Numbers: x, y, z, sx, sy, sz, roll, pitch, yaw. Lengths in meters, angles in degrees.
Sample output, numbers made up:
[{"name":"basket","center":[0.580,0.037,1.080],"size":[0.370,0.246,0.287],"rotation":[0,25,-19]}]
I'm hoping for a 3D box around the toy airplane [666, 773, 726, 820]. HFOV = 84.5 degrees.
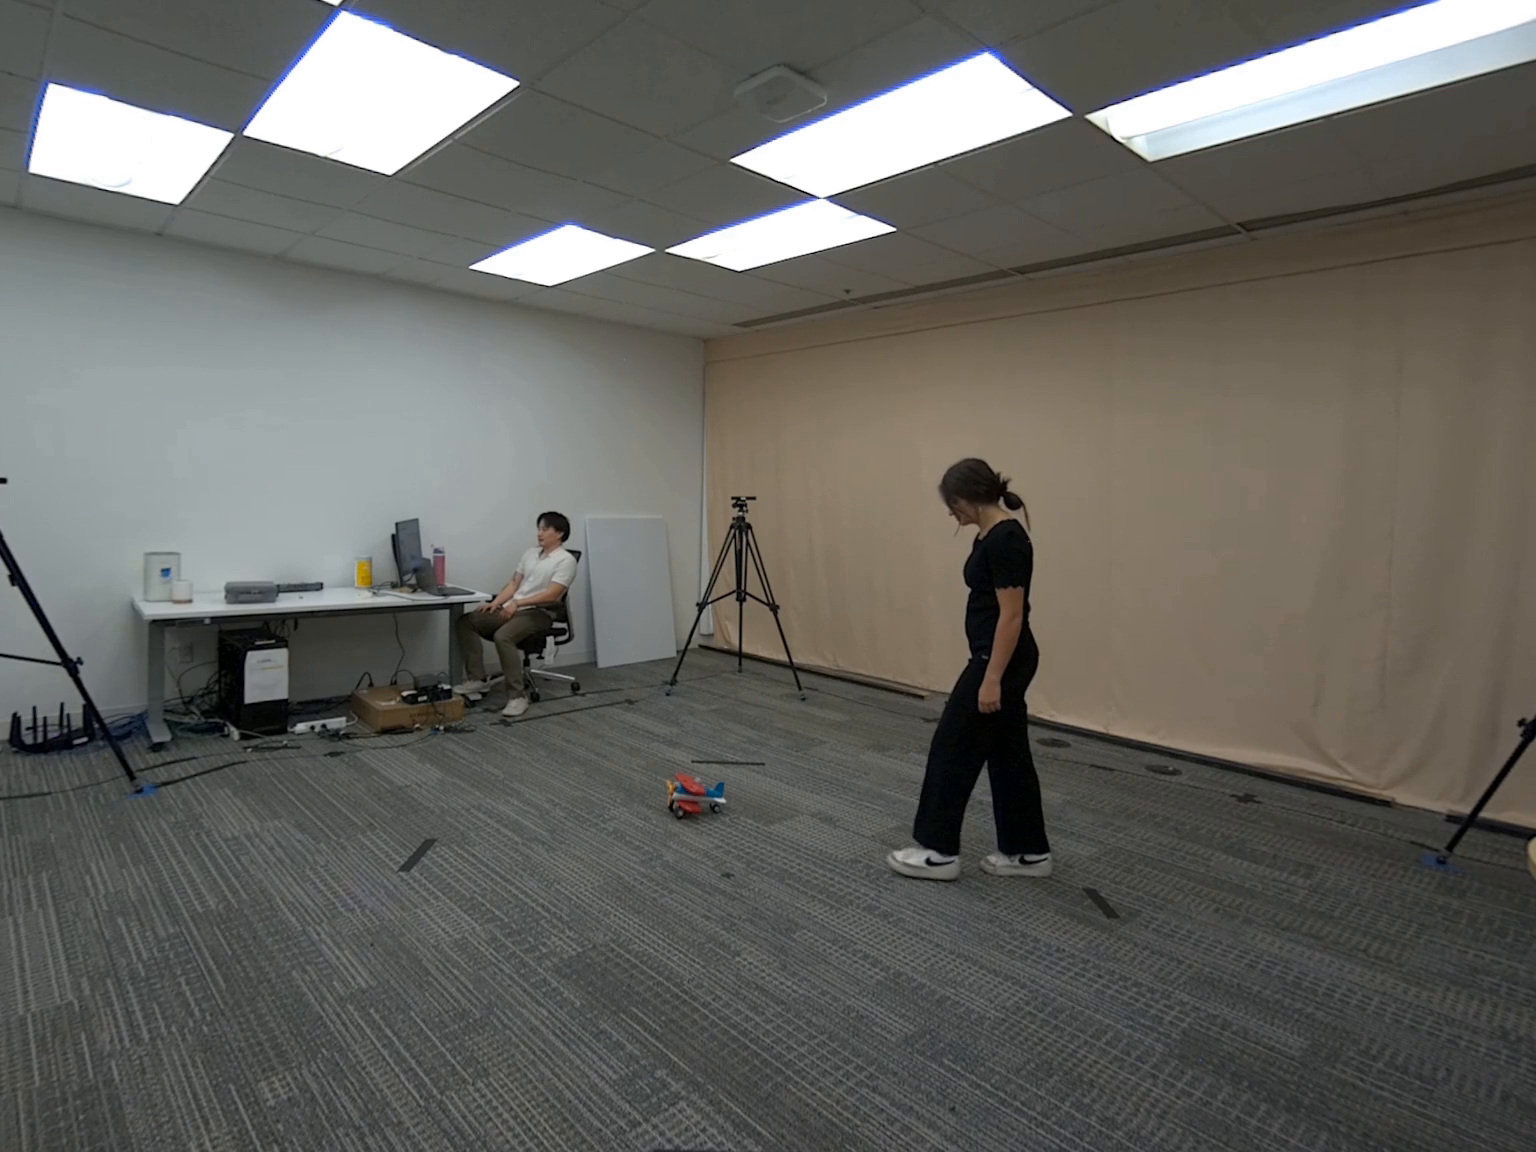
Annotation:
[{"name":"toy airplane","center":[-0.338,0.969,3.728],"size":[0.257,0.156,0.253],"rotation":[3,5,39]}]
